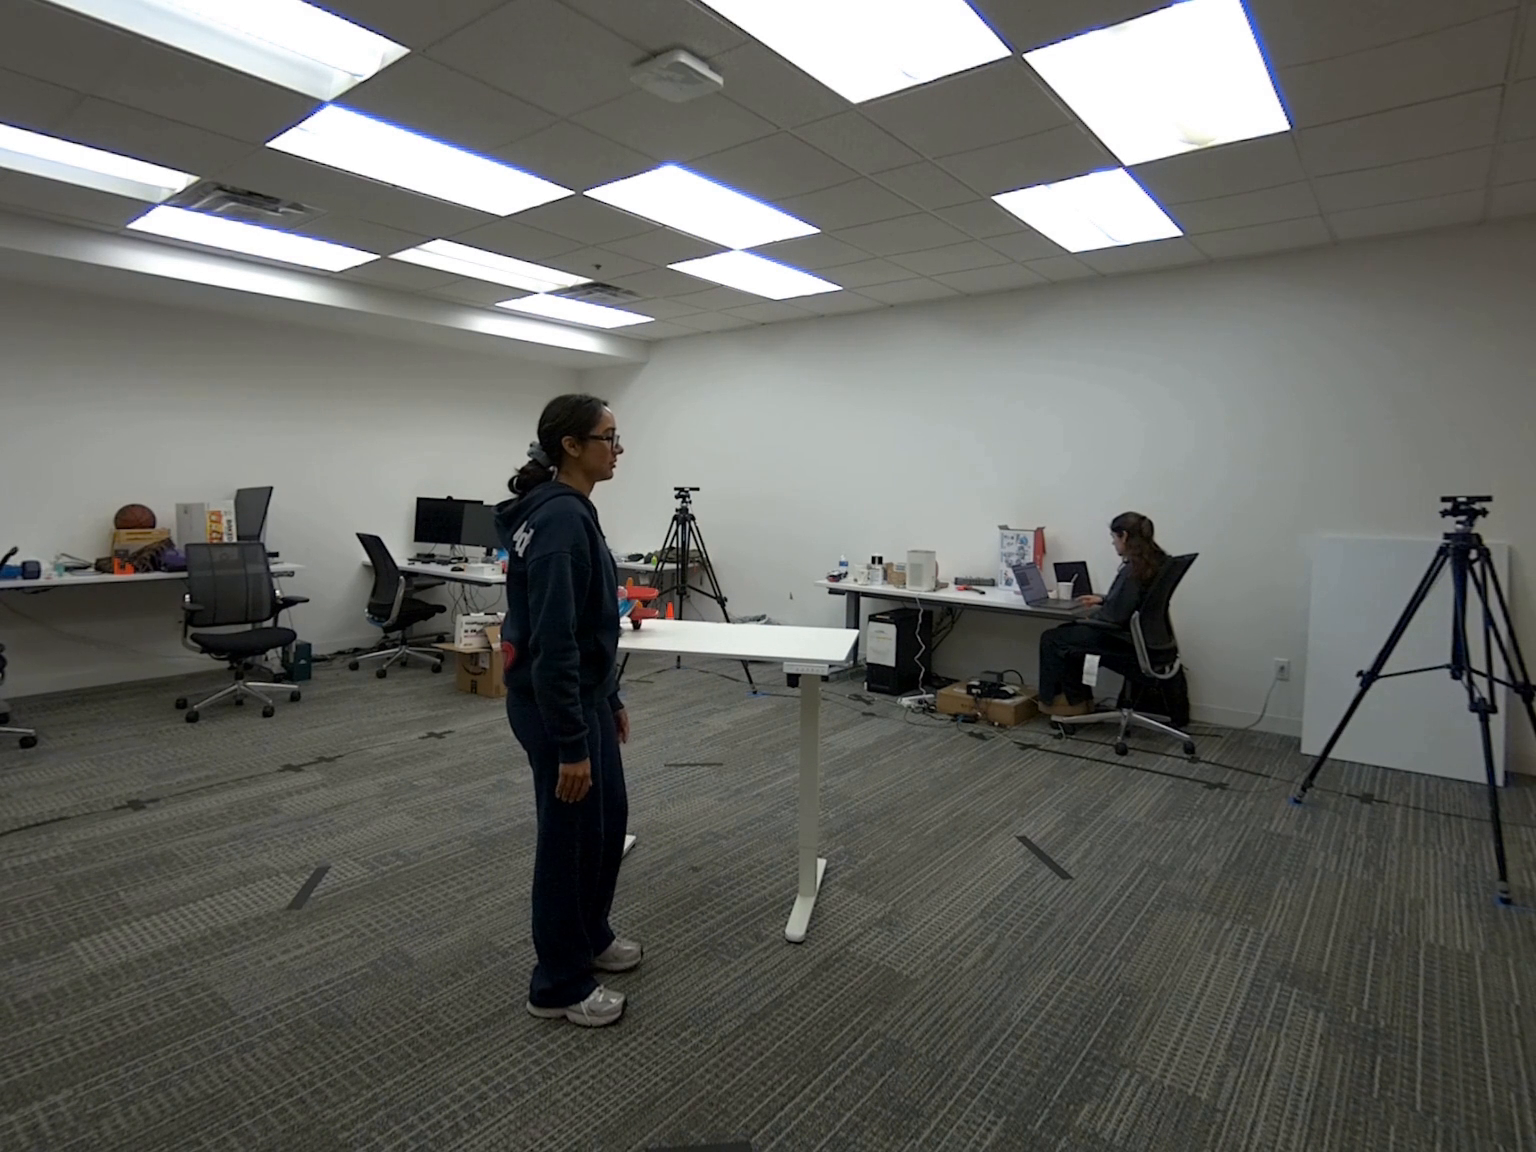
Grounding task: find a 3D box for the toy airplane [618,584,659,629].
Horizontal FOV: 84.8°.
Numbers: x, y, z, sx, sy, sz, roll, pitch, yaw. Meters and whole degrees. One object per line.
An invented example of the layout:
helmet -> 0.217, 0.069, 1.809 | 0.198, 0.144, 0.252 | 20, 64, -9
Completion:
toy airplane -> -0.506, 0.121, 2.976 | 0.246, 0.156, 0.266 | -1, 5, -22
